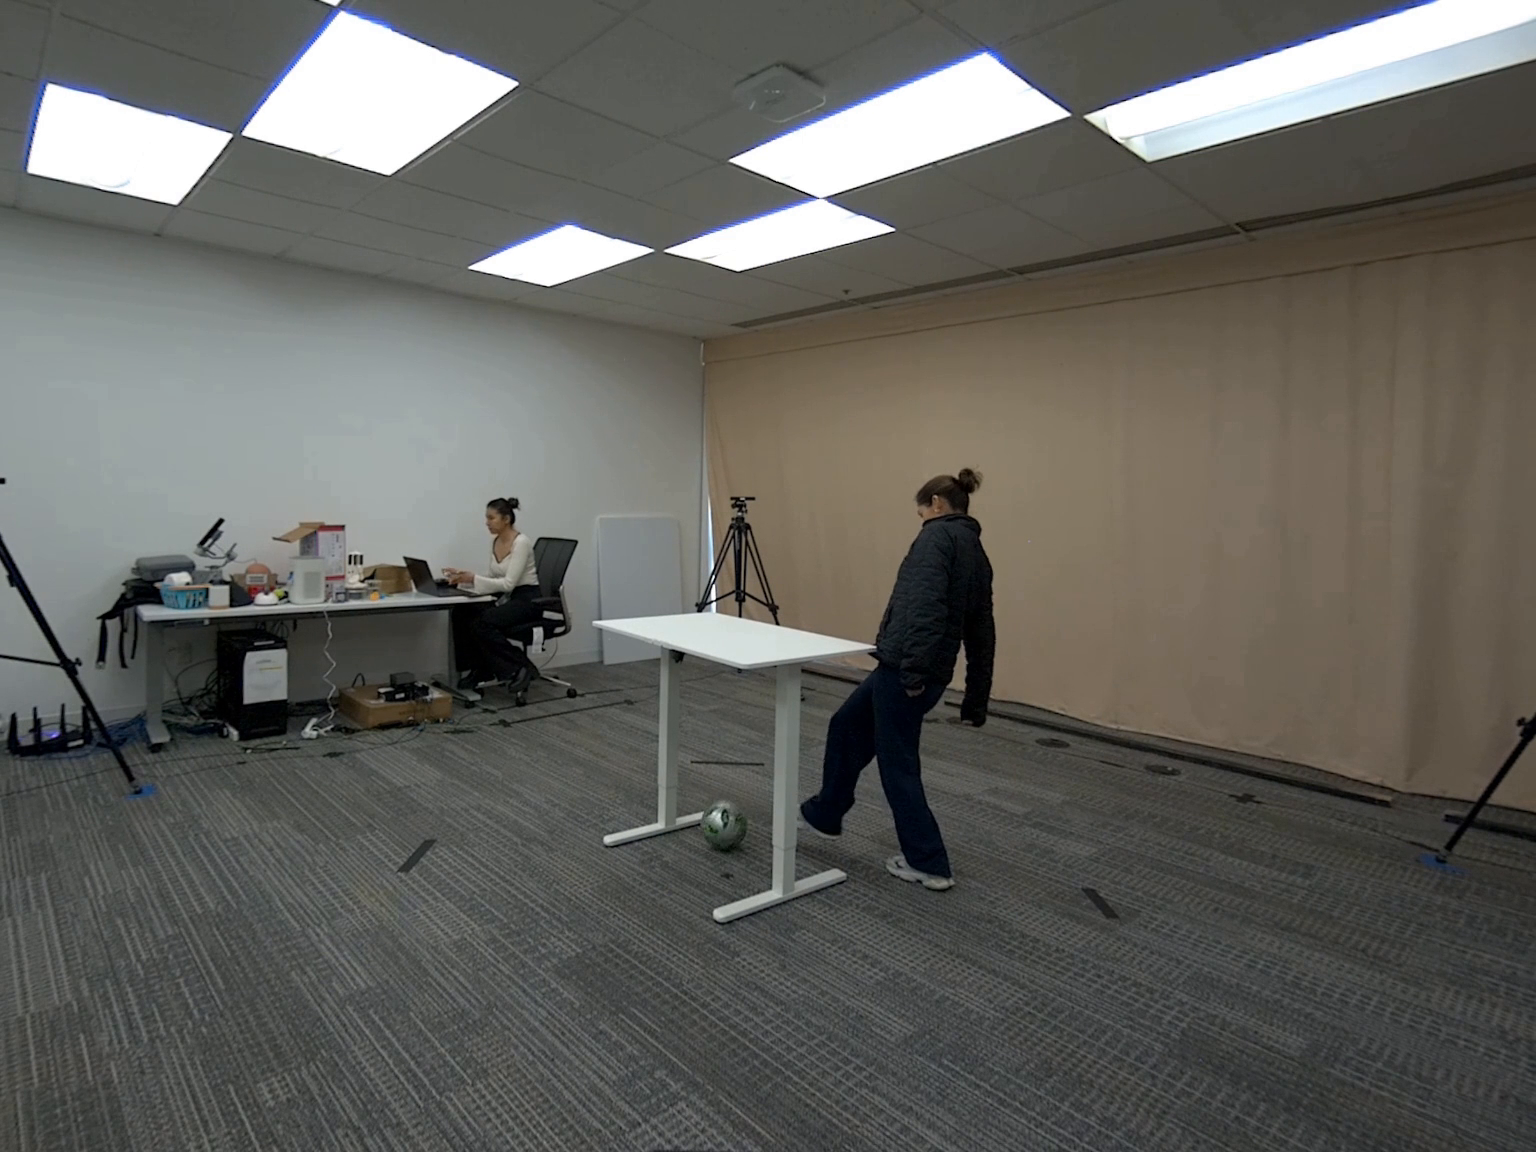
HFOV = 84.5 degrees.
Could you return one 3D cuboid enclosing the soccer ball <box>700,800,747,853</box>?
[{"bbox_3d":[-0.176,0.984,3.346,0.187,0.187,0.188,1,4,-1],"label":"soccer ball"}]
